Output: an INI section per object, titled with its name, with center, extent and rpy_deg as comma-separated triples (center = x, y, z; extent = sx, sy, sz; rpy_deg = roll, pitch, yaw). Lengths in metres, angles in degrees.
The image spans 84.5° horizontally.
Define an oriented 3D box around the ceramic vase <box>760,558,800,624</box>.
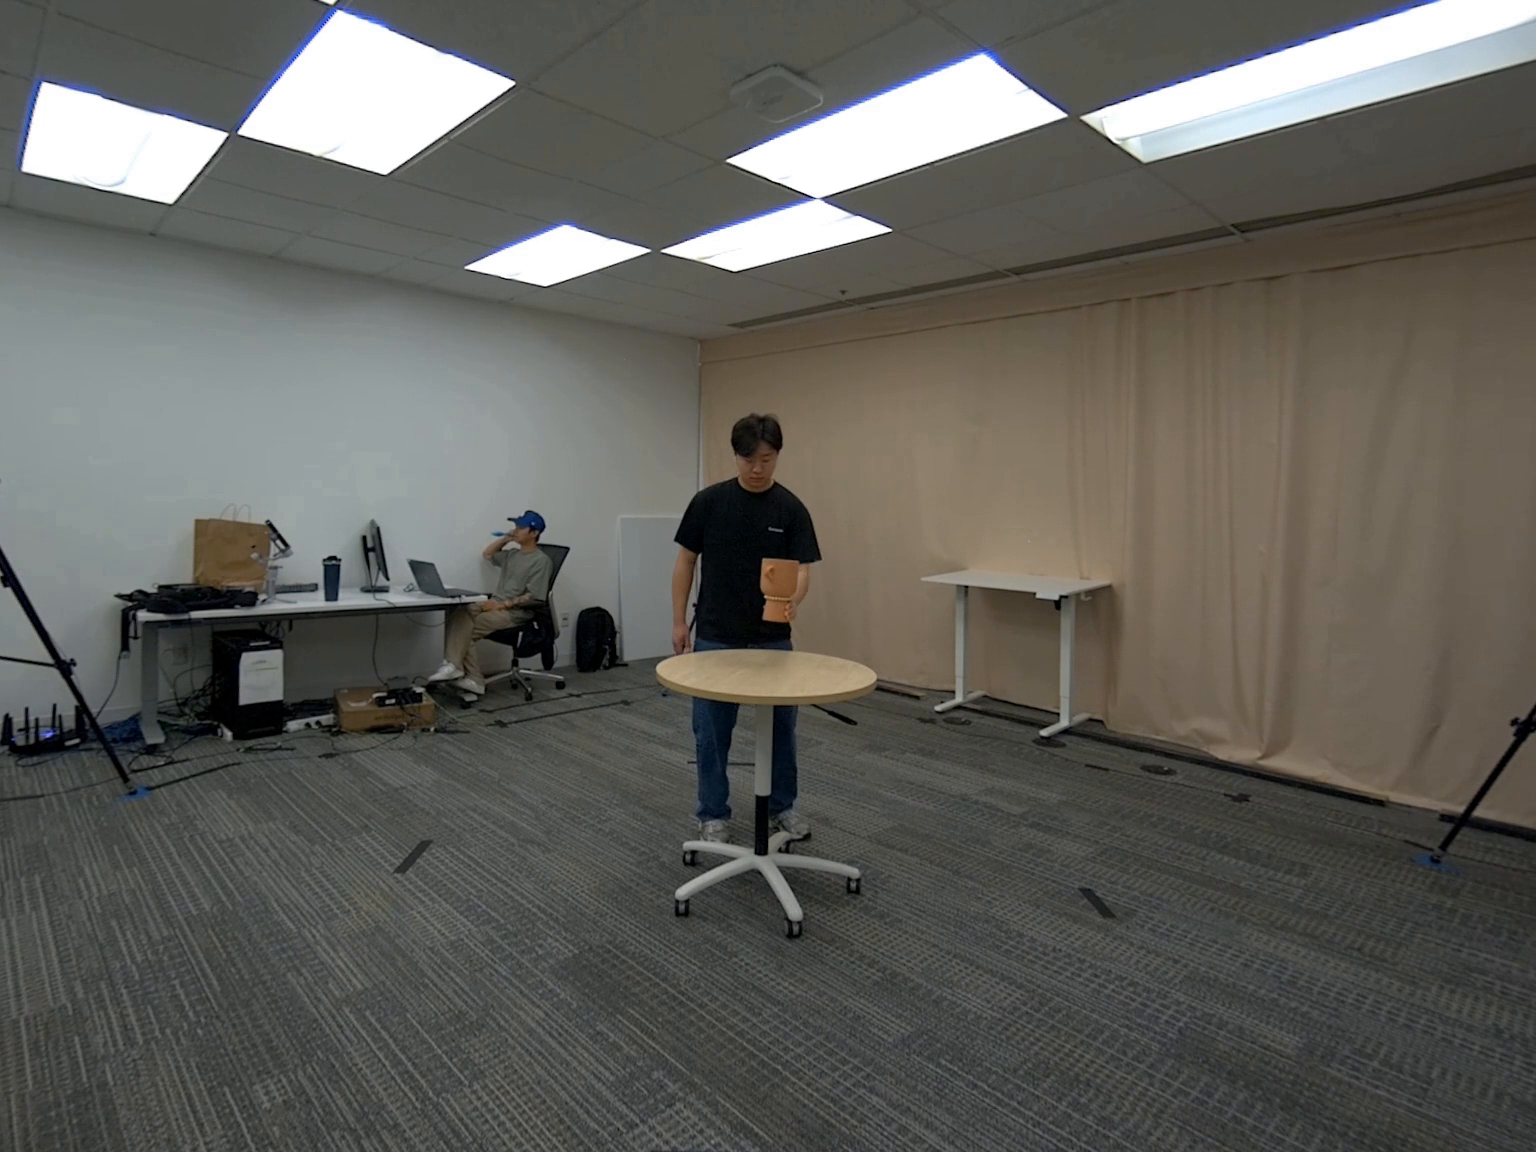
[ceramic vase]
center = 0.025, 0.054, 3.036
extent = 0.156, 0.220, 0.137
rpy_deg = 6, 0, -23
